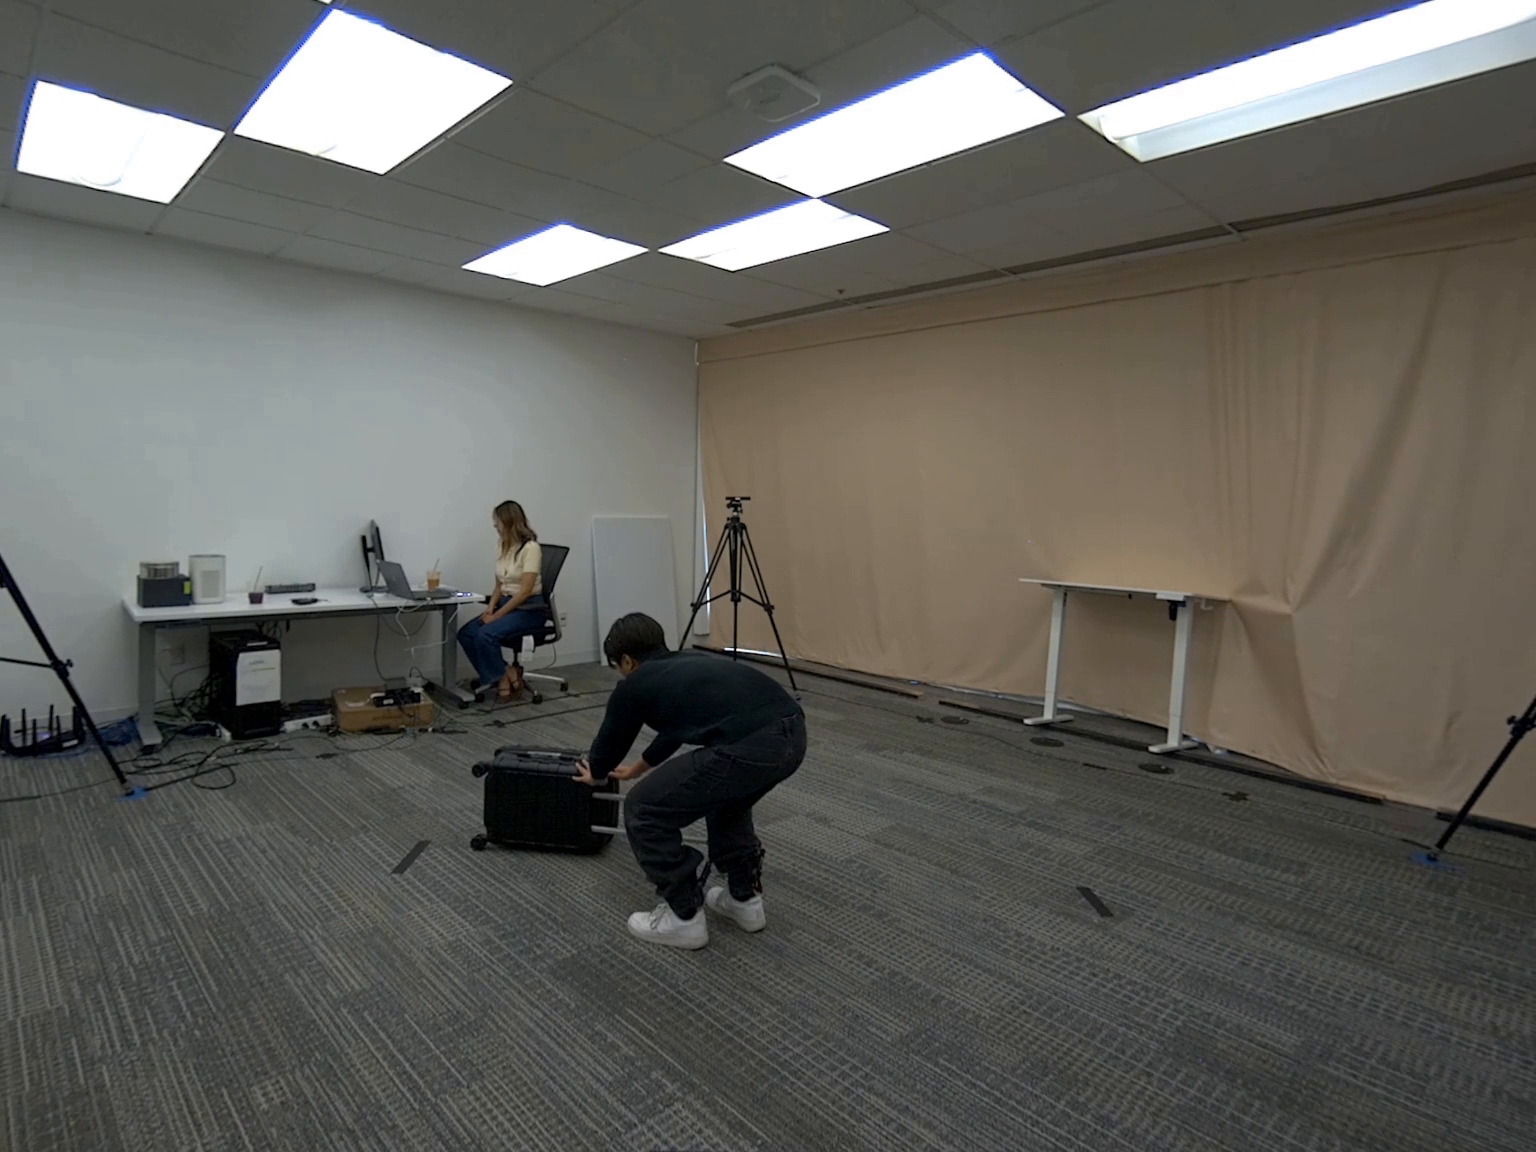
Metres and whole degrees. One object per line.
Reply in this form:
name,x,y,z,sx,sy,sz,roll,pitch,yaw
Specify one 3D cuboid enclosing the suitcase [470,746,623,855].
suitcase,-0.665,0.893,3.323,0.985,0.383,0.256,1,4,7
